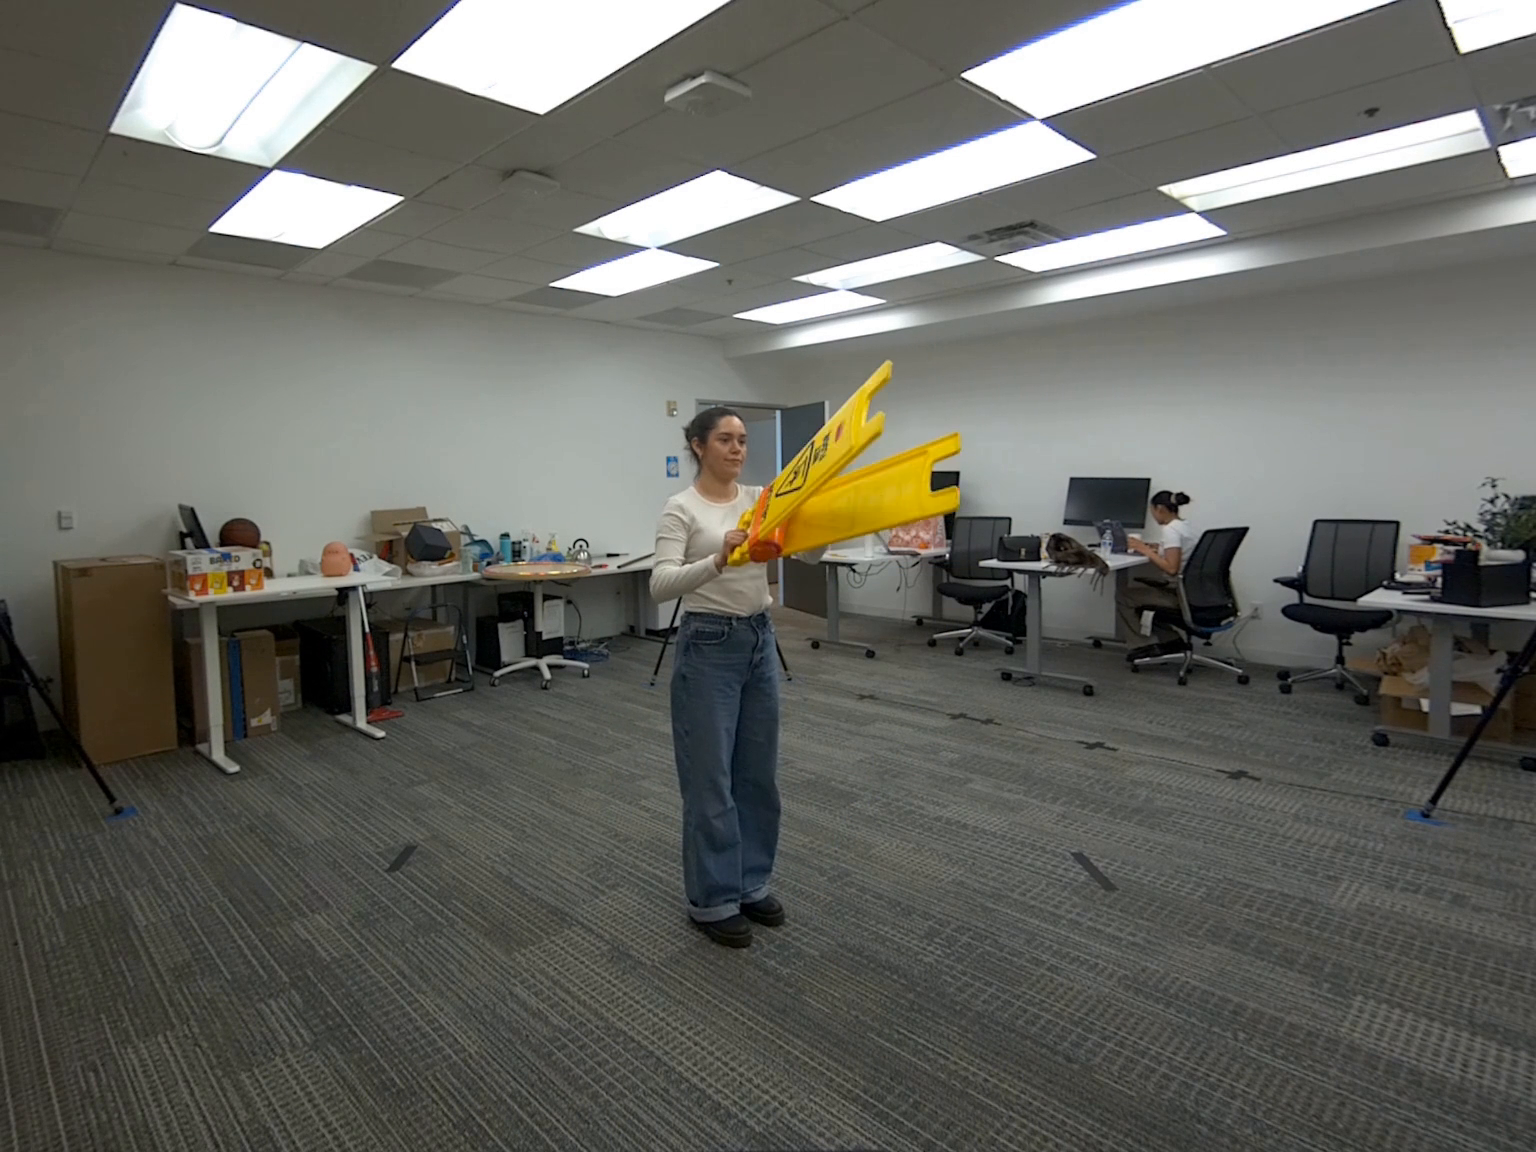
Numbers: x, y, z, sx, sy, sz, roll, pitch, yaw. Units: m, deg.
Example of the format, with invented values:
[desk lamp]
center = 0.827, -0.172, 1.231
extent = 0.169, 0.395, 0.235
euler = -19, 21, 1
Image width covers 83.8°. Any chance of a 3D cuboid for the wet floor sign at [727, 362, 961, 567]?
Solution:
[wet floor sign]
center = 0.149, -0.198, 2.183
extent = 0.653, 0.287, 0.281
euler = -29, -59, 38
